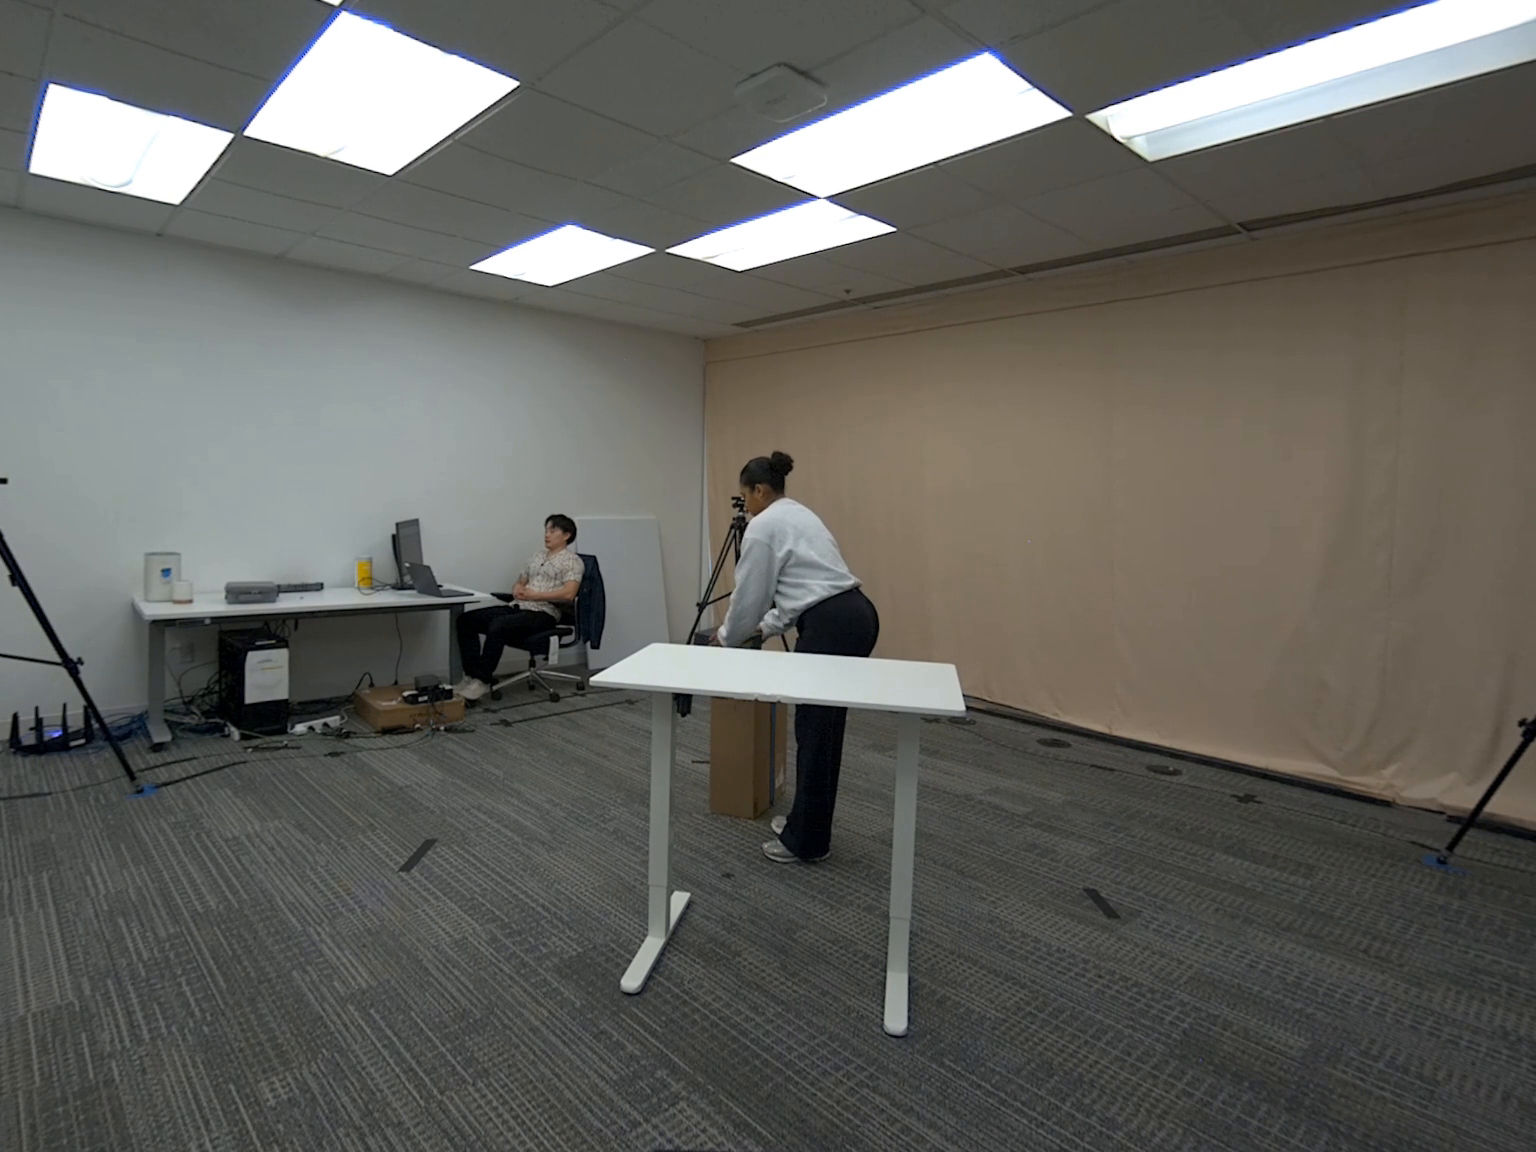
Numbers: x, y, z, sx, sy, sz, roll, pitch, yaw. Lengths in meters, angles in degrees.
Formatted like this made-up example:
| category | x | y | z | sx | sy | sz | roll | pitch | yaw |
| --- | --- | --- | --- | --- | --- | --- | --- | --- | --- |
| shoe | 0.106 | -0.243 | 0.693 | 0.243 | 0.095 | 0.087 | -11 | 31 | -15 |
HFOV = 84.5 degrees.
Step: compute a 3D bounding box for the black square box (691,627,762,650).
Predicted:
| category | x | y | z | sx | sy | sz | roll | pitch | yaw |
| --- | --- | --- | --- | --- | --- | --- | --- | --- | --- |
| black square box | -0.178 | 0.317 | 3.643 | 0.221 | 0.155 | 0.224 | 10 | 8 | 24 |
